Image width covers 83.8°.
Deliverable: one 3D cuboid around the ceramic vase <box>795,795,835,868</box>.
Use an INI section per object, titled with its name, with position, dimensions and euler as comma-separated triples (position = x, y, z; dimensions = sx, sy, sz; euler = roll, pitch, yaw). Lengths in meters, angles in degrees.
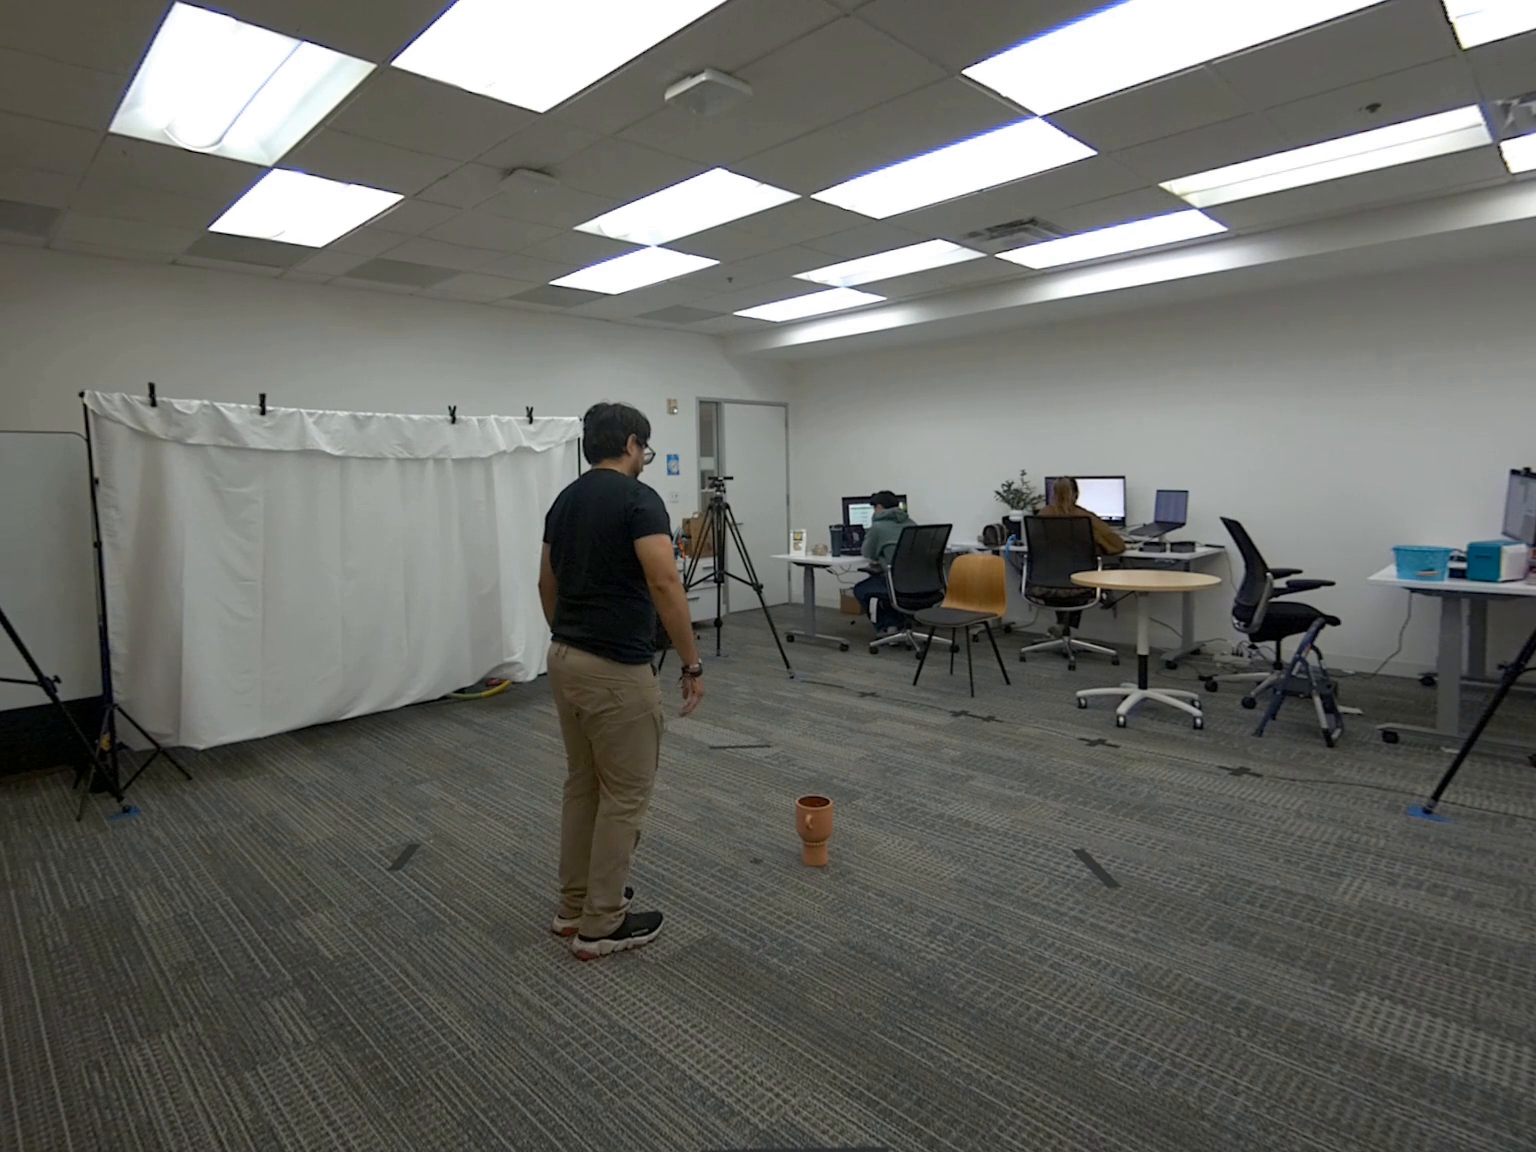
[ceramic vase]
position = 0.174, 0.922, 3.093
dimensions = 0.155, 0.219, 0.138
euler = -4, 5, -33
